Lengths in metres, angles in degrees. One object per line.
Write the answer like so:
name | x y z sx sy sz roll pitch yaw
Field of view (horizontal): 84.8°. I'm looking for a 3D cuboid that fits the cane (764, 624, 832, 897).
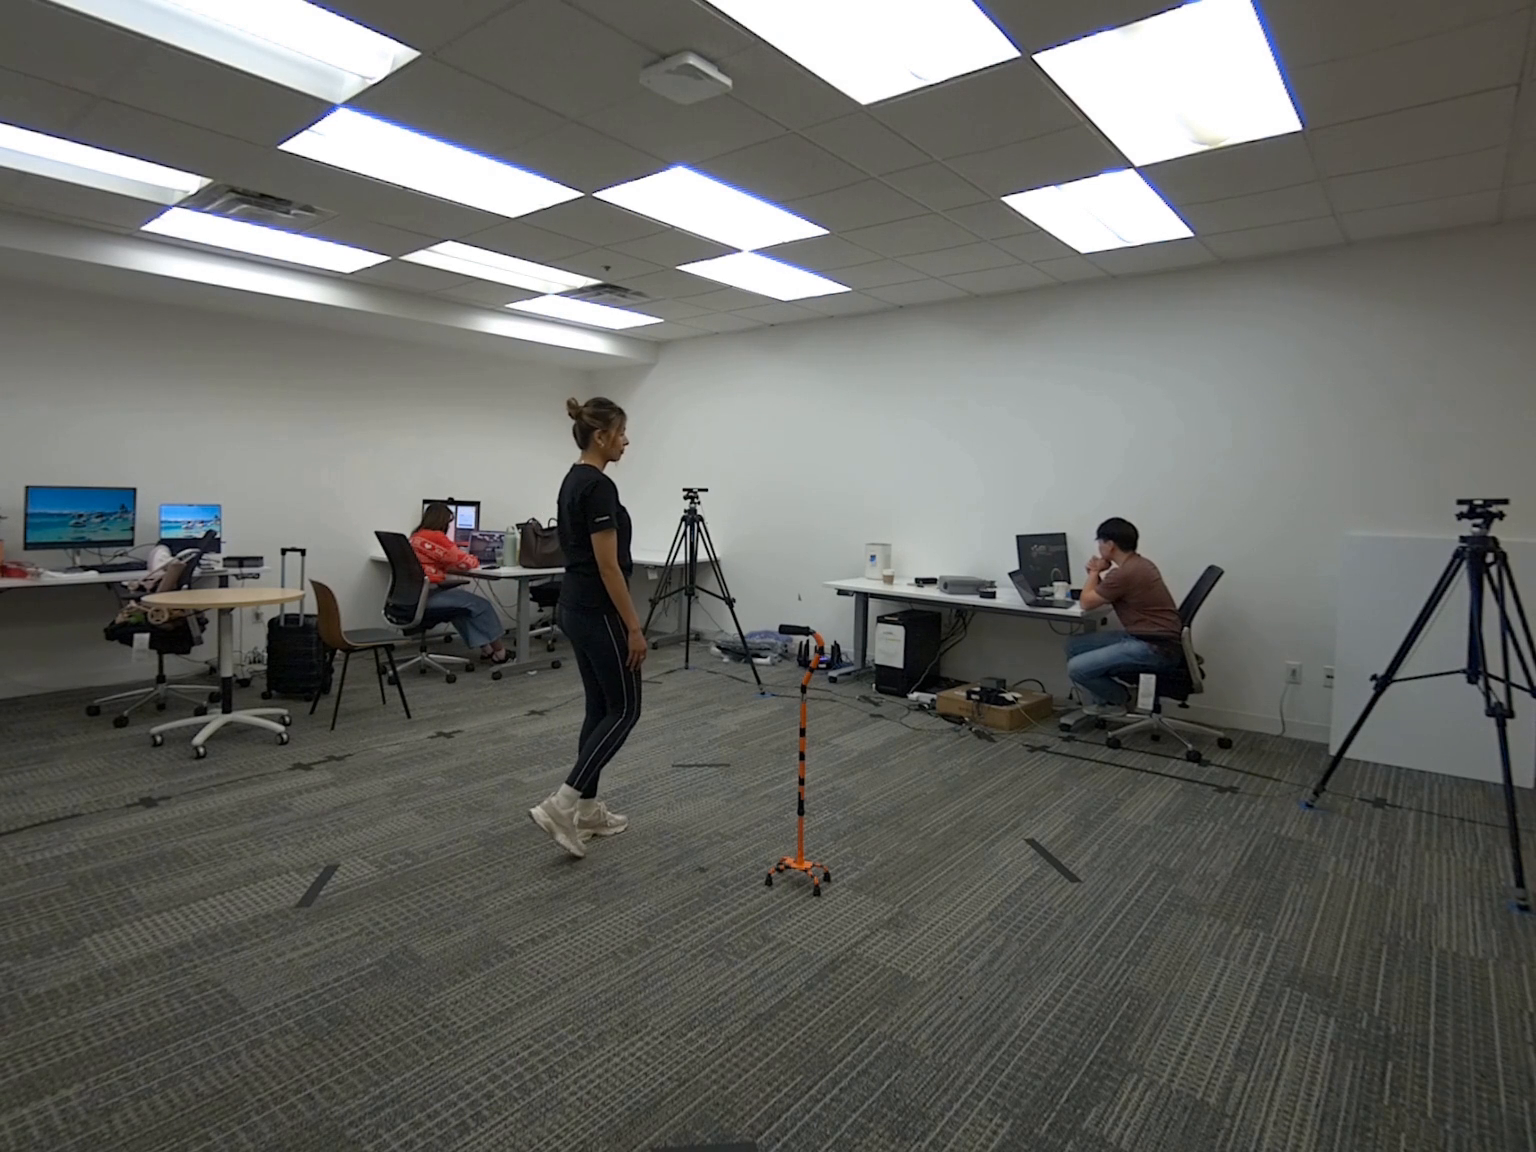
cane | 0.111 0.630 2.998 0.211 0.905 0.149 3 3 18
